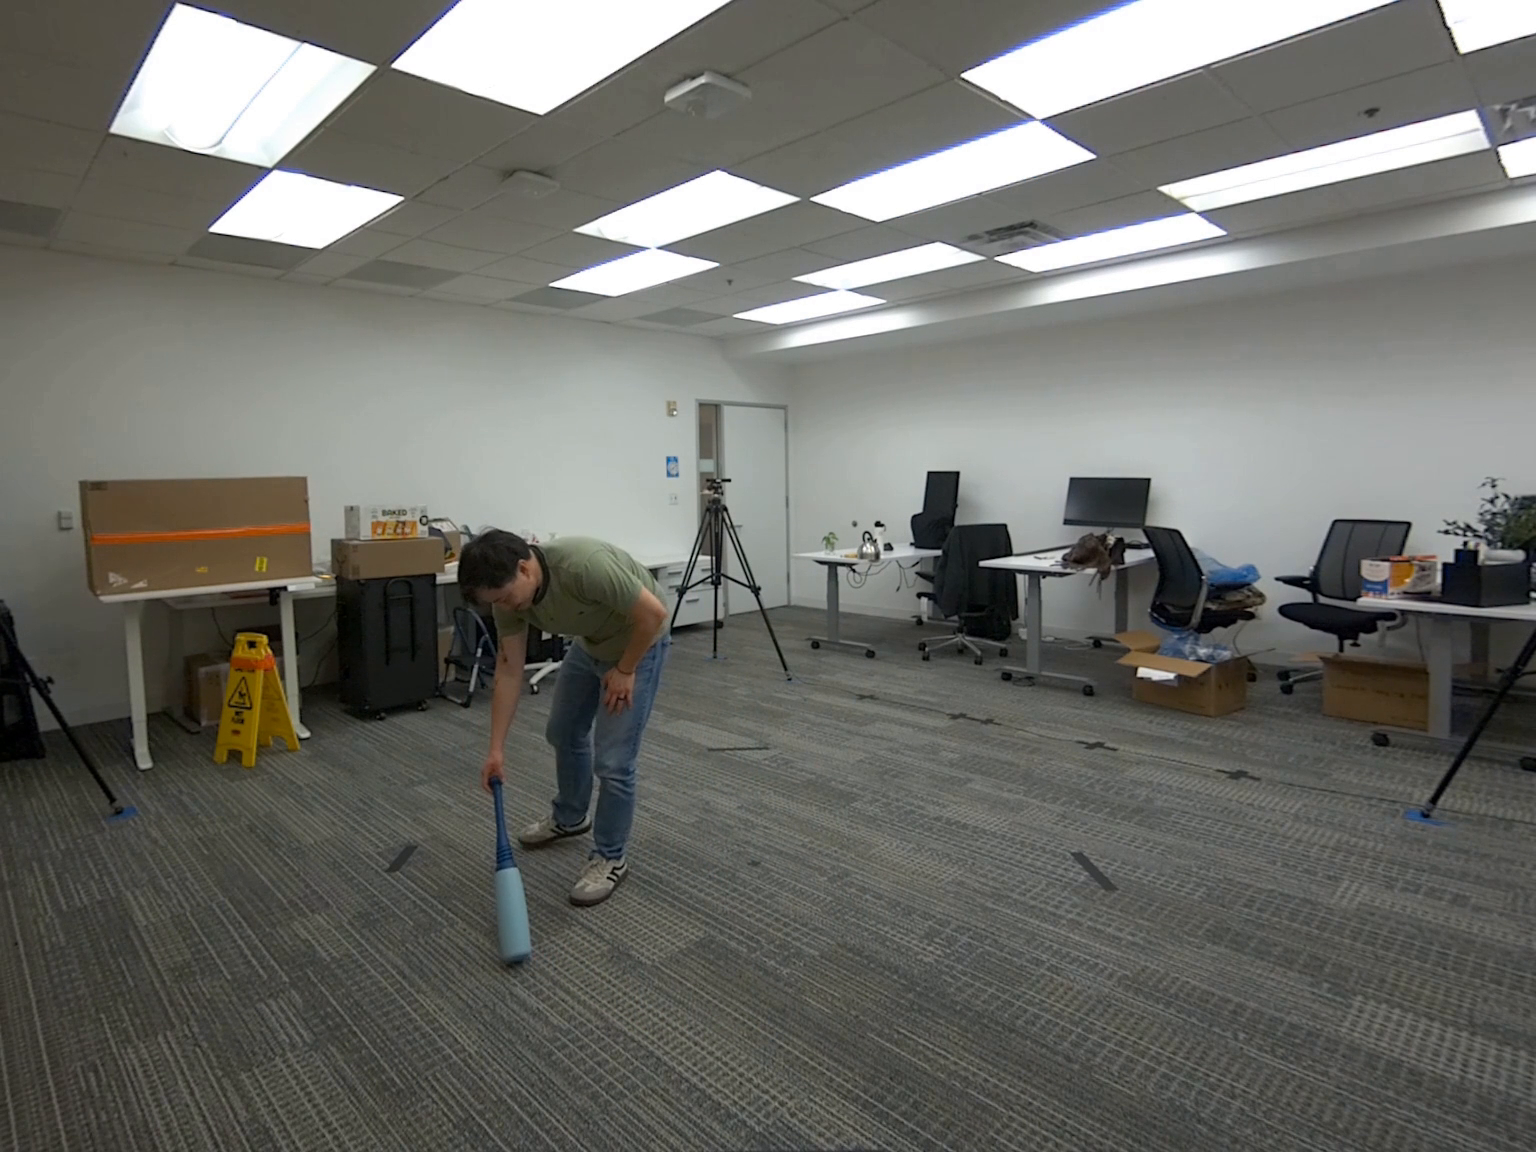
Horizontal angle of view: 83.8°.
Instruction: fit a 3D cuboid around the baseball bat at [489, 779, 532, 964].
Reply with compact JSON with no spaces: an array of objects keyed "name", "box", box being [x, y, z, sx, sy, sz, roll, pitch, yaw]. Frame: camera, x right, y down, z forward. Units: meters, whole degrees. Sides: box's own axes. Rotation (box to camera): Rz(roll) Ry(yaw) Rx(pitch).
[{"name":"baseball bat","box":[-0.801,0.885,2.612,0.088,0.559,0.087,-13,-29,-9]}]
